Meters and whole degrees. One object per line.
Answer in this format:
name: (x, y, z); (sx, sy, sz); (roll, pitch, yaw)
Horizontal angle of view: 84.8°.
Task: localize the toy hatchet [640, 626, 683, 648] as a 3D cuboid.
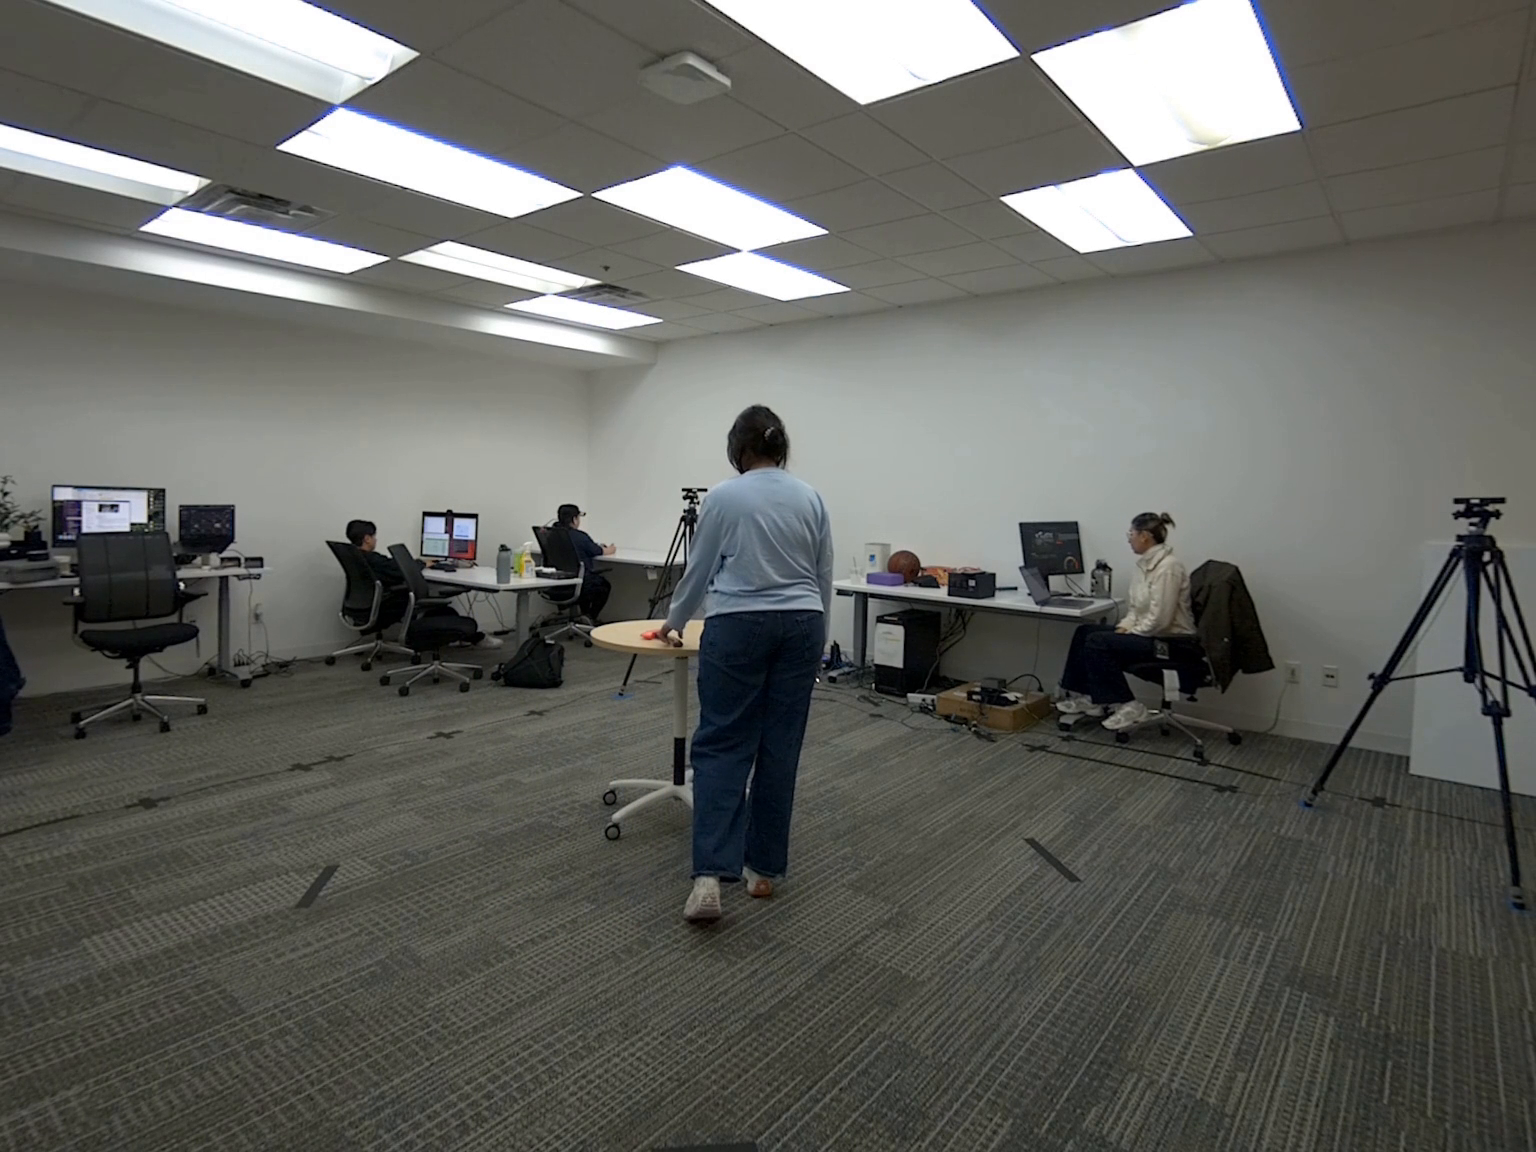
toy hatchet: (-0.444, 0.245, 3.352); (0.129, 0.029, 0.276); (1, 7, -18)
